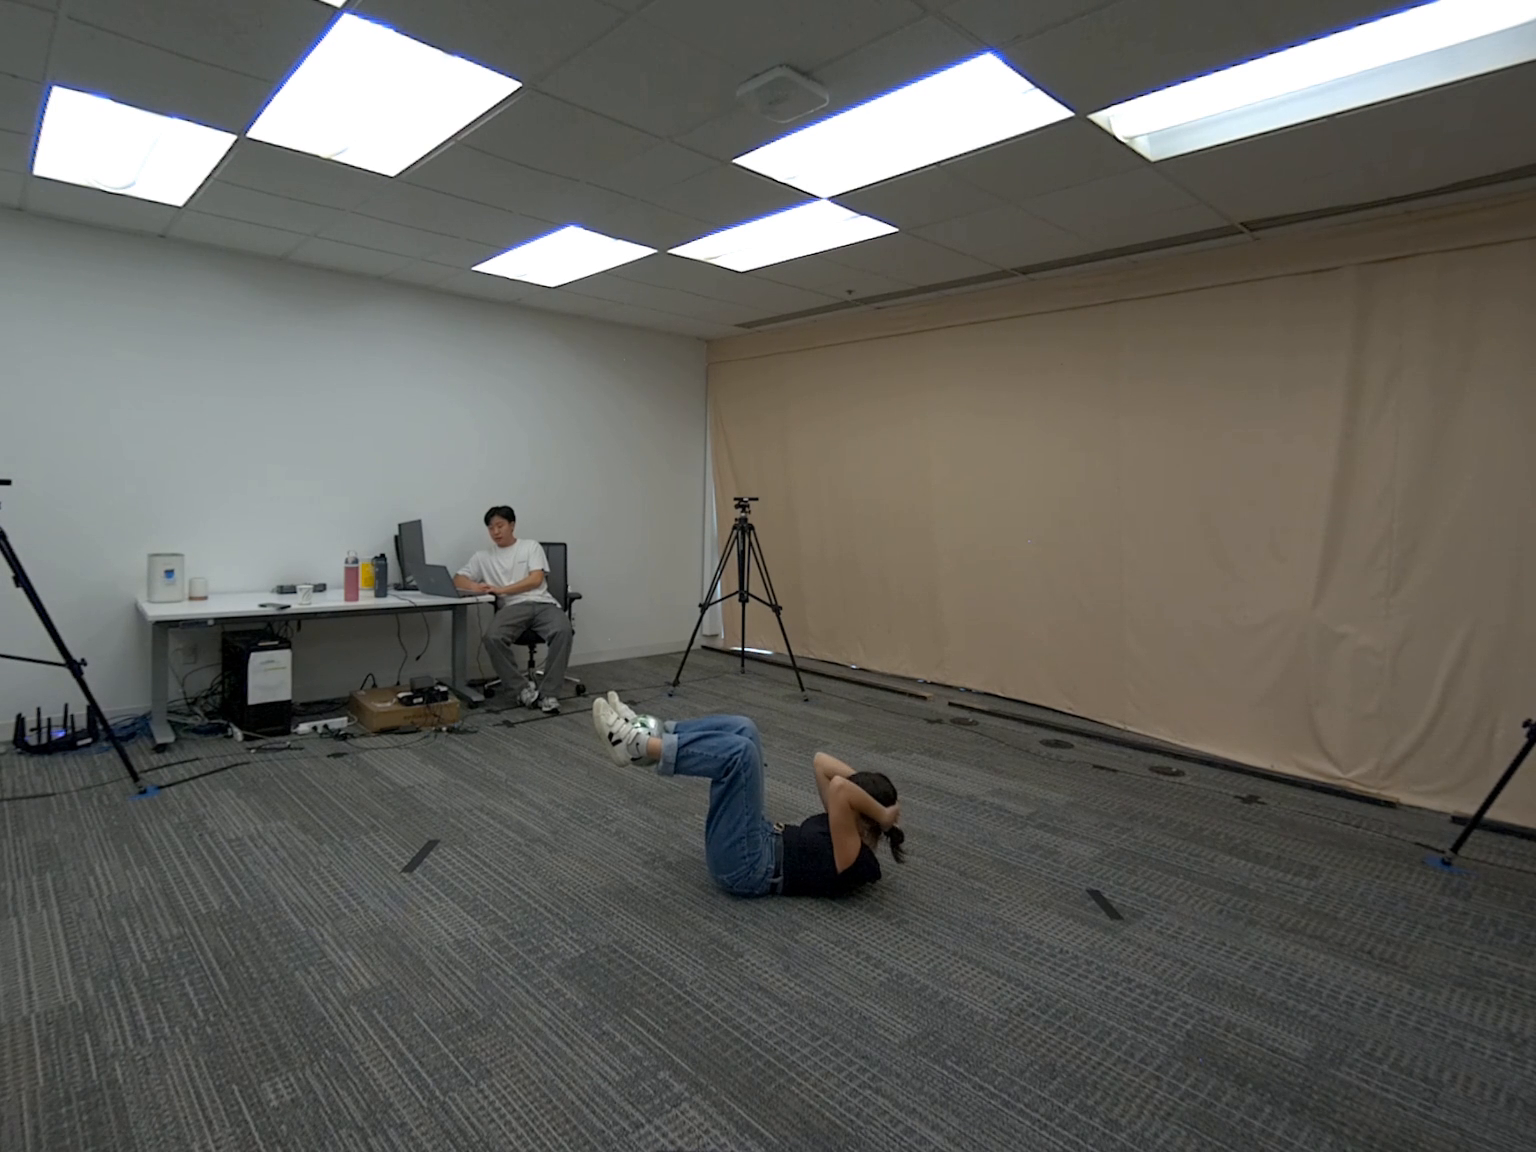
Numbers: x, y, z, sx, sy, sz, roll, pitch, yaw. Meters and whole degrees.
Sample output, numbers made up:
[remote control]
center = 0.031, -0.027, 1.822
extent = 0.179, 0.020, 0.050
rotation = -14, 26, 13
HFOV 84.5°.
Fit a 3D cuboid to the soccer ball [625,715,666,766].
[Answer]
[soccer ball]
center = -0.466, 0.610, 3.077
extent = 0.187, 0.186, 0.188
rotation = 1, 7, -1
